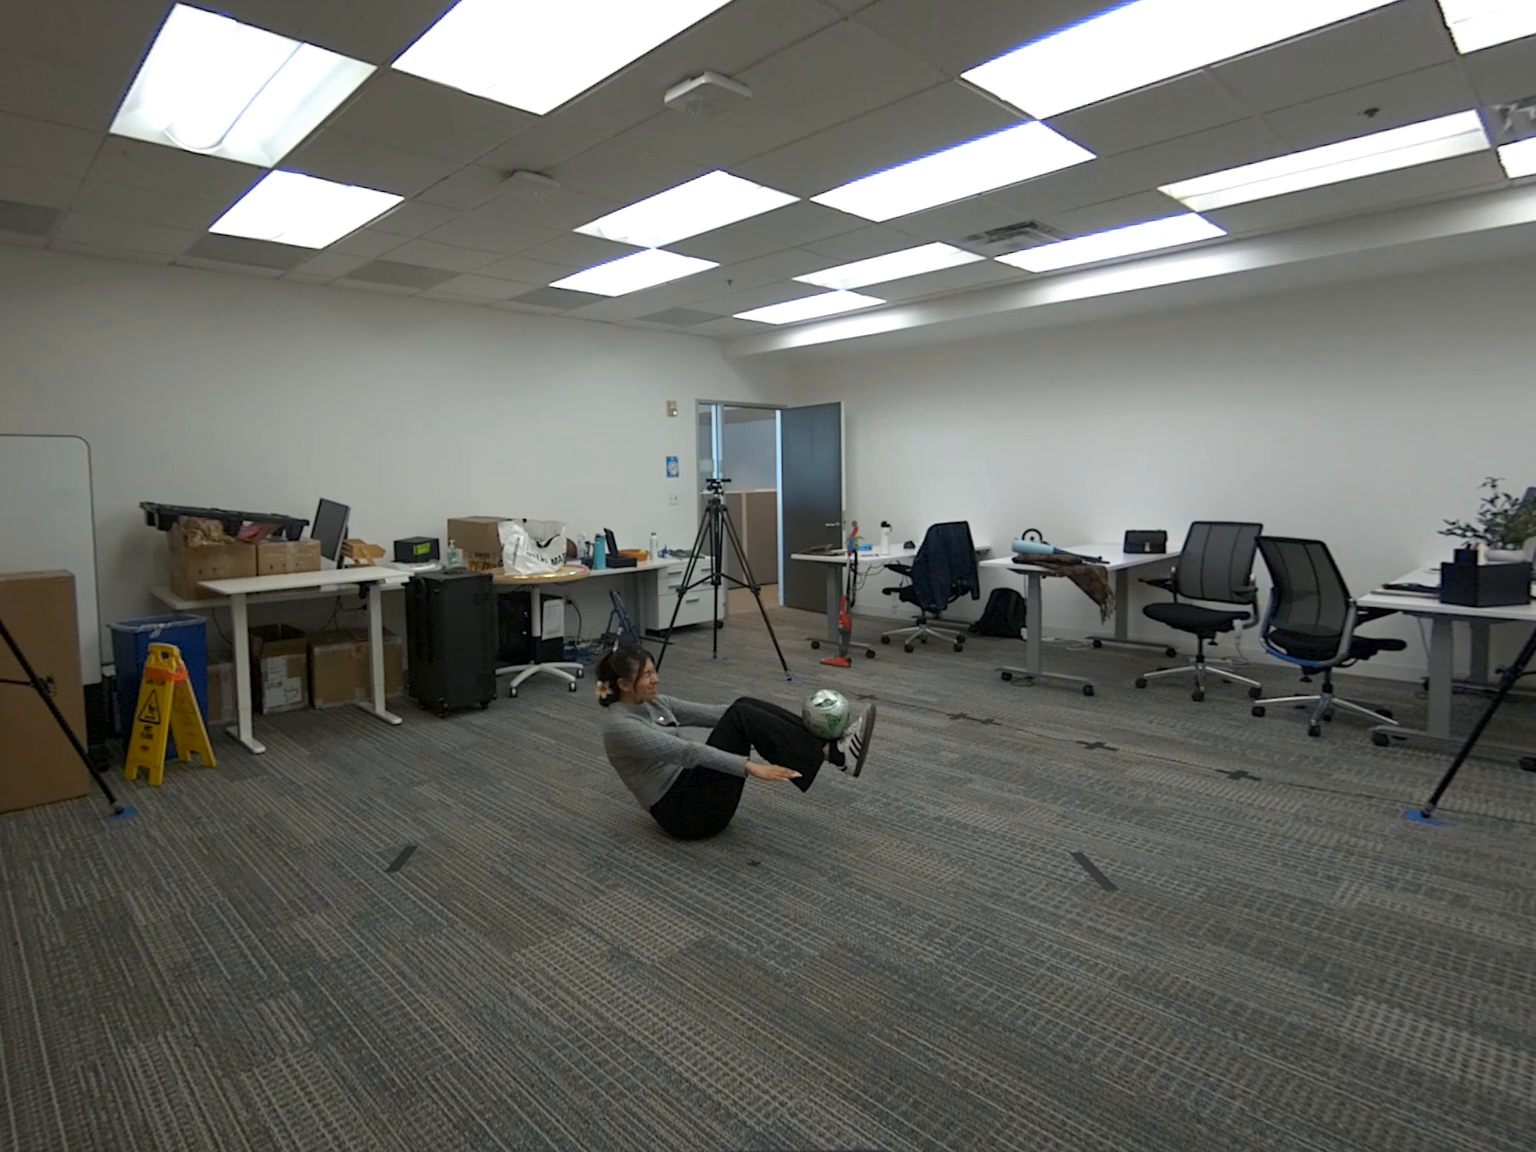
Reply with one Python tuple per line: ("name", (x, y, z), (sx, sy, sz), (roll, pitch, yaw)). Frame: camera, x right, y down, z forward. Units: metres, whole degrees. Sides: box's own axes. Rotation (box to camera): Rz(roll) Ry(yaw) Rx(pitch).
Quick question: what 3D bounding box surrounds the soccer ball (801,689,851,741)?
("soccer ball", (0.225, 0.527, 3.245), (0.187, 0.187, 0.188), (-1, 5, -2))
